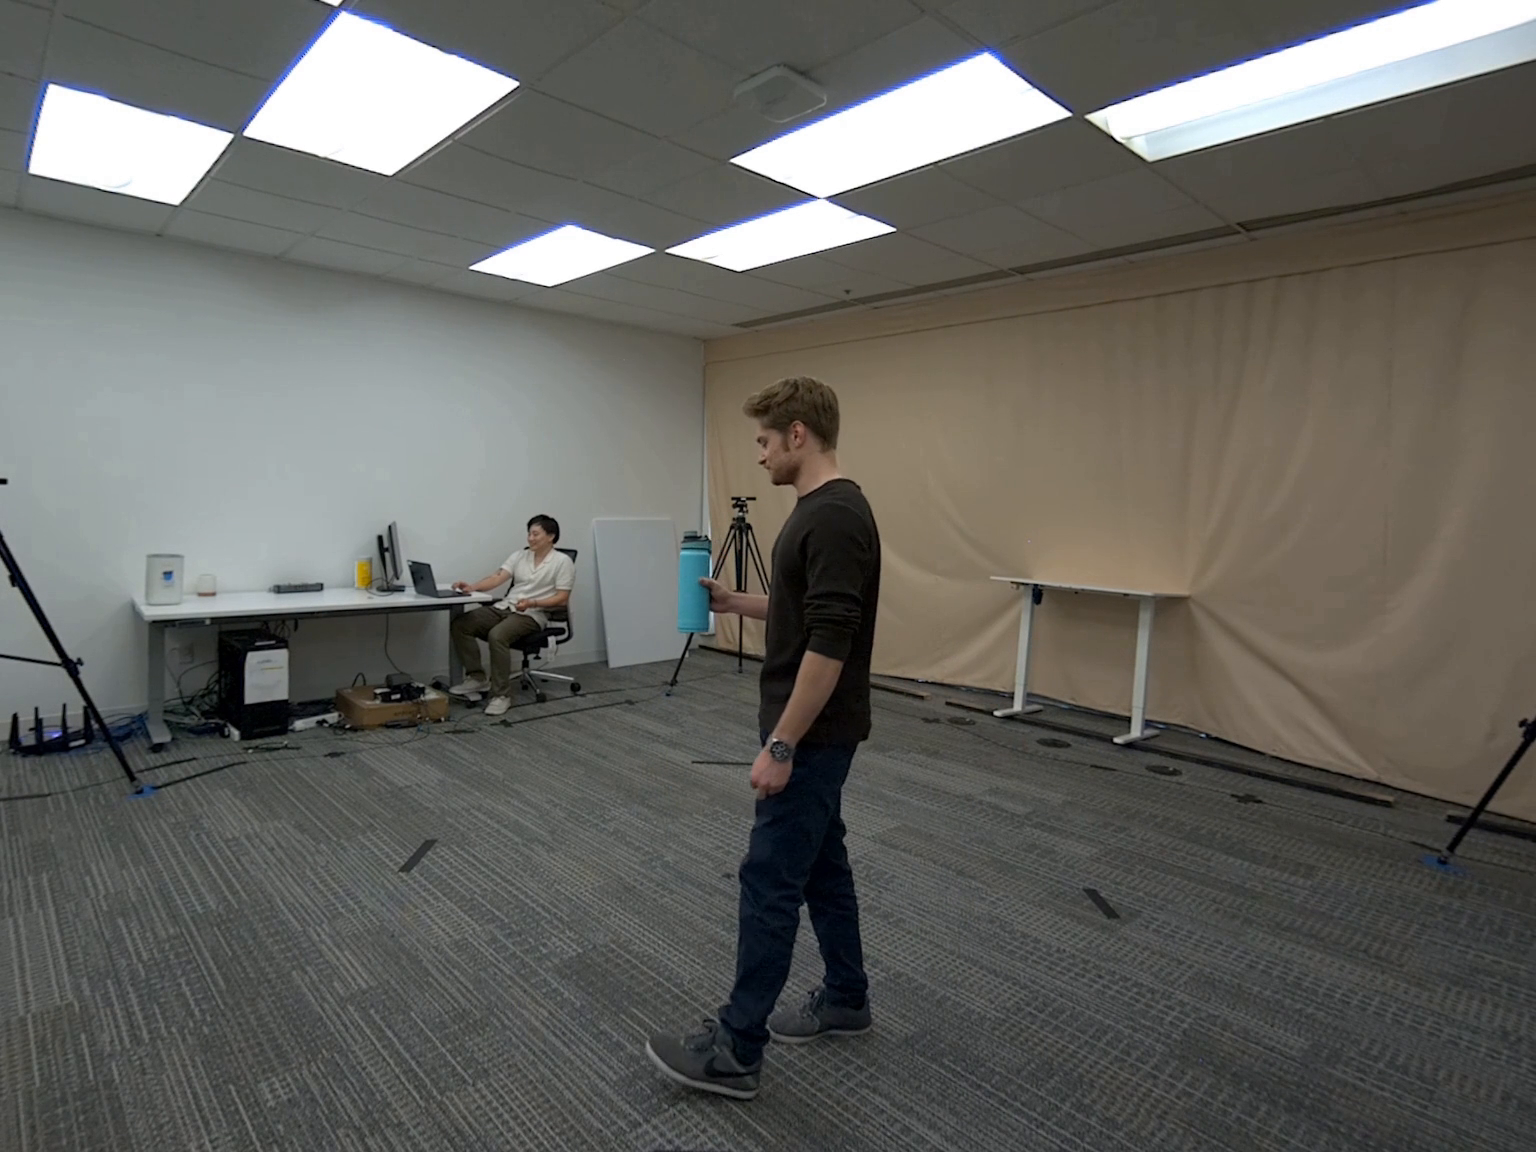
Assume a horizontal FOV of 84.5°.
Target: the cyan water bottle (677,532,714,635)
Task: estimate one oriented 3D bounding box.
[{"bbox_3d":[-0.214,0.014,2.354,0.092,0.284,0.092,1,-5,-1],"label":"cyan water bottle"}]
